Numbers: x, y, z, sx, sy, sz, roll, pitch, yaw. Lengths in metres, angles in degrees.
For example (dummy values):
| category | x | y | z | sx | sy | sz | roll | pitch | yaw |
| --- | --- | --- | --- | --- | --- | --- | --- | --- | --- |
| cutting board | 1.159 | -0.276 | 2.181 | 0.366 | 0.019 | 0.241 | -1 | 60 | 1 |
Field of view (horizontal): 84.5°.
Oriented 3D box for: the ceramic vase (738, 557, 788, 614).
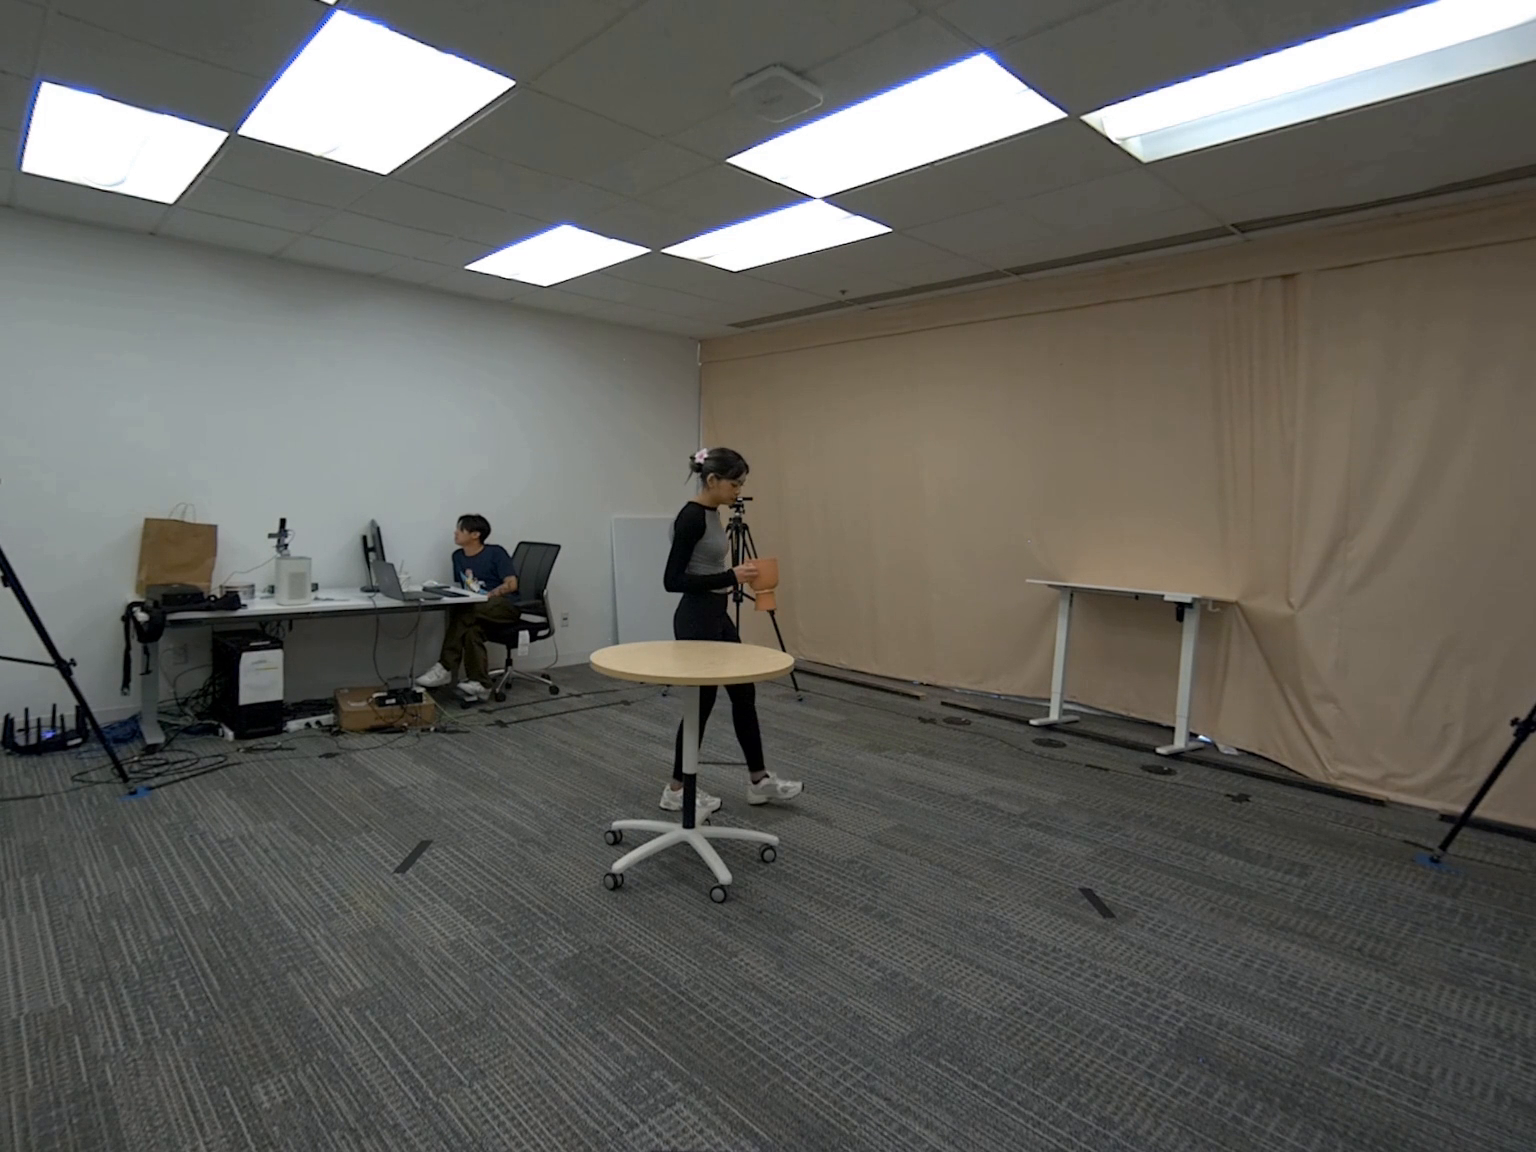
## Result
| category | x | y | z | sx | sy | sz | roll | pitch | yaw |
| --- | --- | --- | --- | --- | --- | --- | --- | --- | --- |
| ceramic vase | -0.026 | 0.036 | 3.597 | 0.157 | 0.220 | 0.136 | -4 | 0 | -17 |
